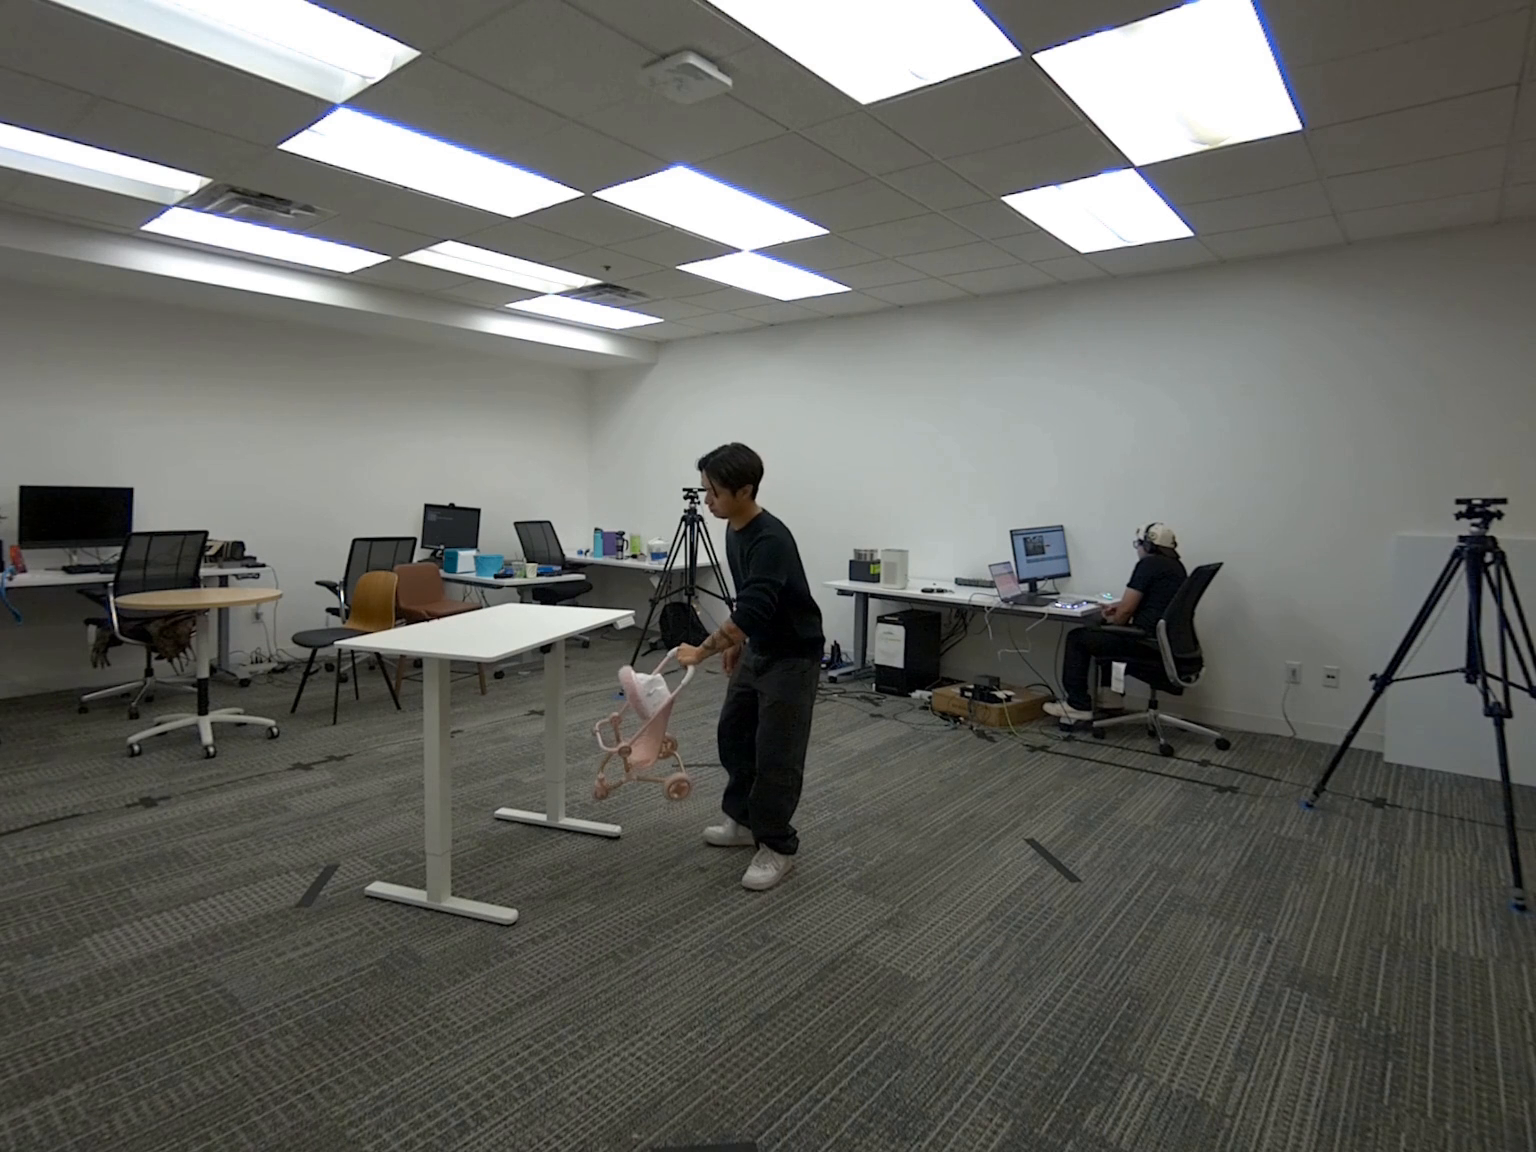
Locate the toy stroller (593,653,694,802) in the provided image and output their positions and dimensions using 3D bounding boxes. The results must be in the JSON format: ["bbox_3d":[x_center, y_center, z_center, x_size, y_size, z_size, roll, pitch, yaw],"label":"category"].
[{"bbox_3d":[-0.455,0.527,2.923,0.336,0.527,0.290,2,20,-16],"label":"toy stroller"}]
